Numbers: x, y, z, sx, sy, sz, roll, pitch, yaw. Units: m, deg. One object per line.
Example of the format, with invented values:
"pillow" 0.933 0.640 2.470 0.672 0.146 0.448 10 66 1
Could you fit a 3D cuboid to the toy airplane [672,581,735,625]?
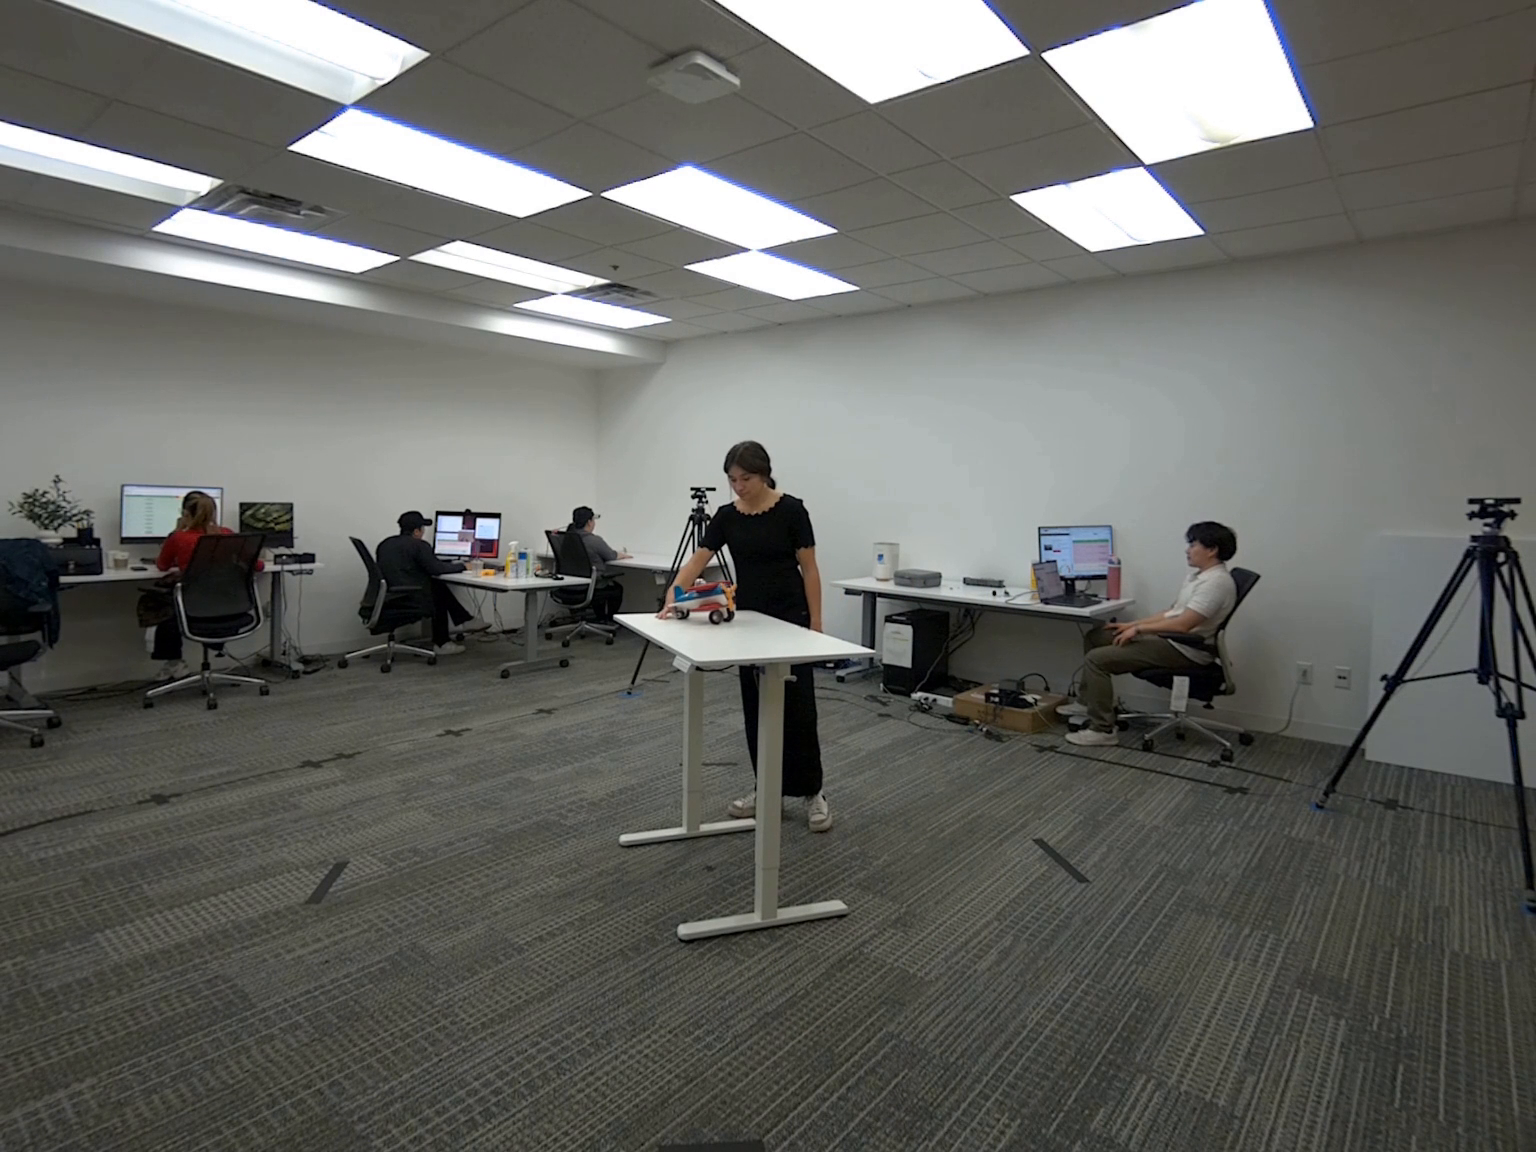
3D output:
"toy airplane" -0.265 0.096 3.241 0.259 0.156 0.252 2 4 -1
